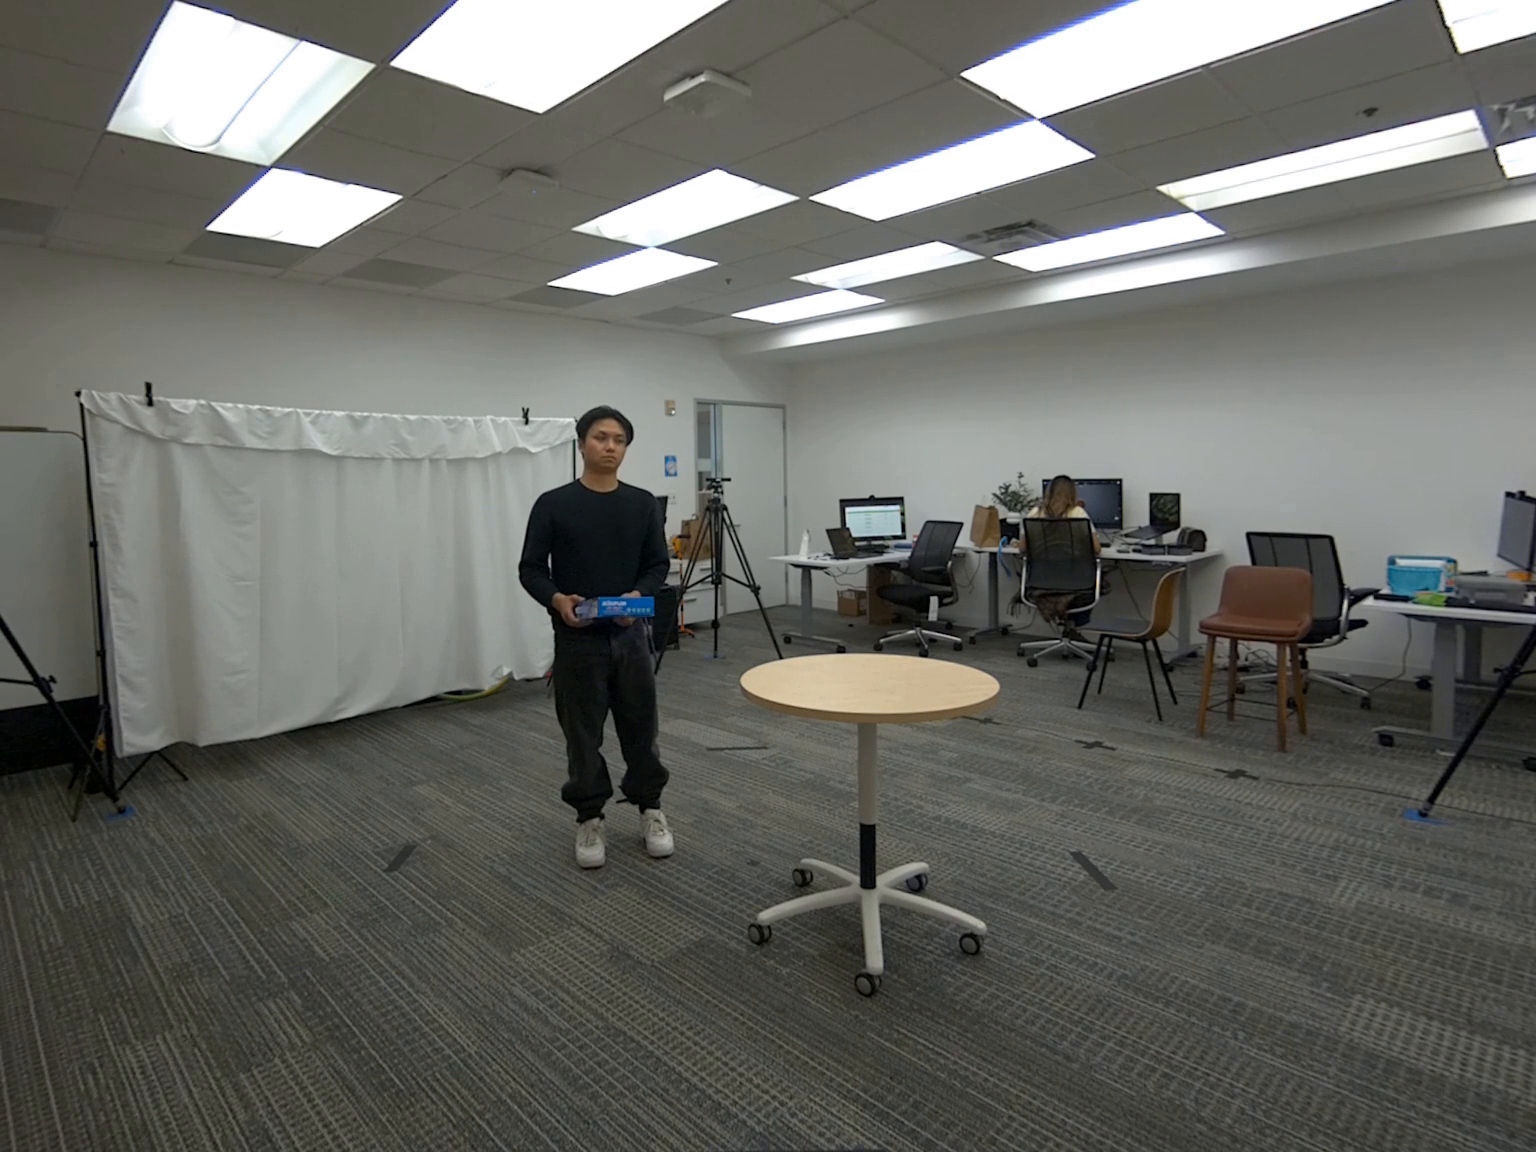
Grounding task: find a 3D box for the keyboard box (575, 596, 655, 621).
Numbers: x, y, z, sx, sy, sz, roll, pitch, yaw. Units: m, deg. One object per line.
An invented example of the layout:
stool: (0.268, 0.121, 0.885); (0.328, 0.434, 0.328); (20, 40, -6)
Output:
keyboard box: (-0.512, 0.112, 2.757); (0.173, 0.059, 0.443); (0, -3, -21)
